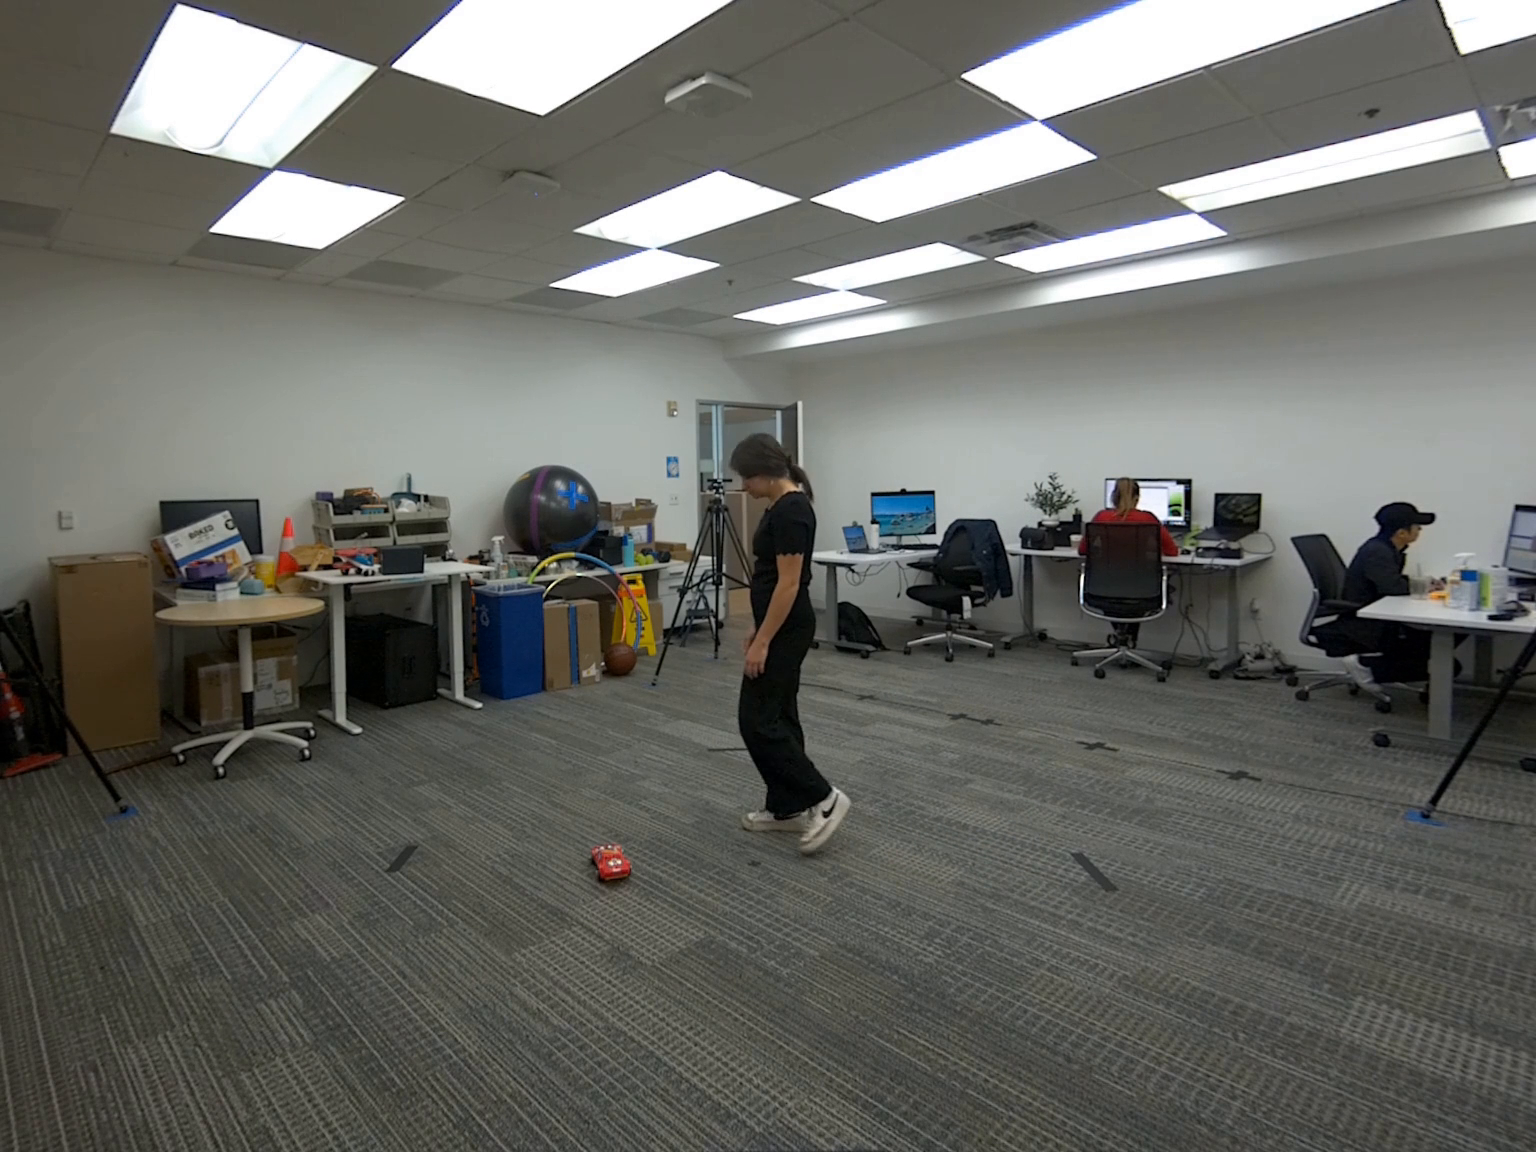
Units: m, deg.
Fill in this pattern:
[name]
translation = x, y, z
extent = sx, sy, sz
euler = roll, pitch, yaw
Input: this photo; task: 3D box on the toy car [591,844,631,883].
[toy car]
translation = -0.563, 1.027, 3.055
extent = 0.128, 0.084, 0.257
euler = -4, -4, -20
